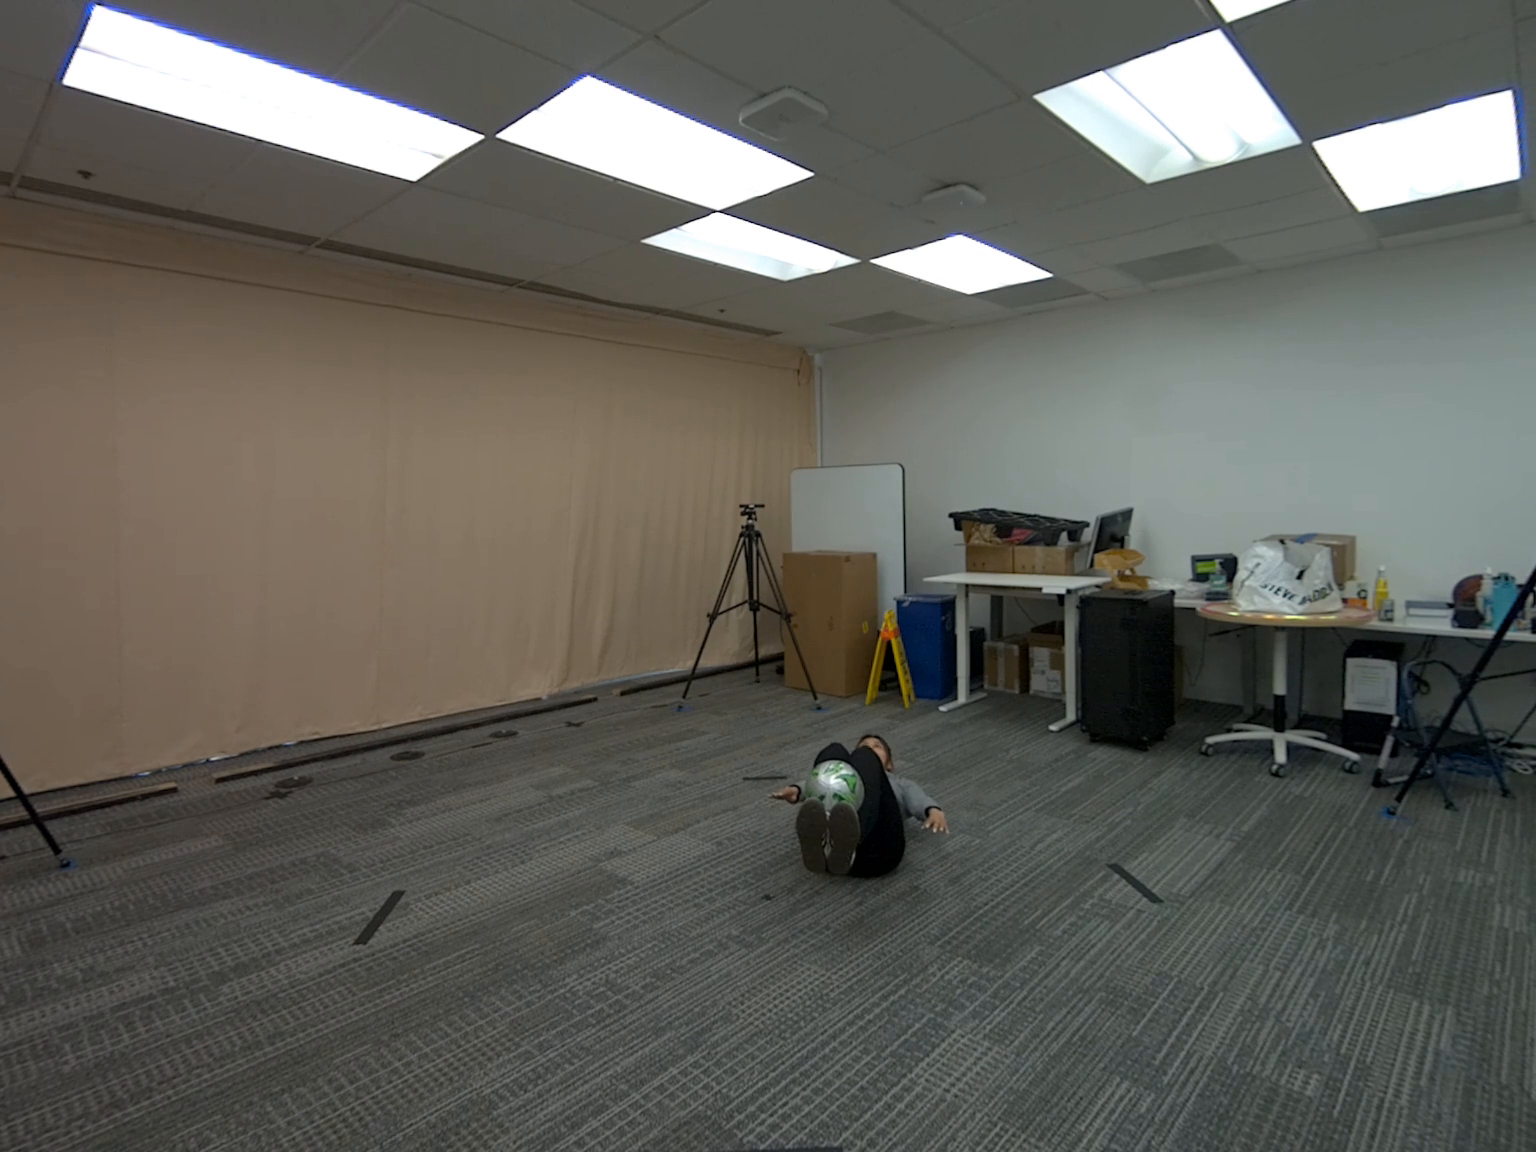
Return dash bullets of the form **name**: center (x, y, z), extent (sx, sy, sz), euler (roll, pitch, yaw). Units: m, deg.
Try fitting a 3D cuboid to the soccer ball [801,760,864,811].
- **soccer ball**: center (0.215, 0.691, 2.673), extent (0.187, 0.187, 0.188), euler (-1, 4, -2)
